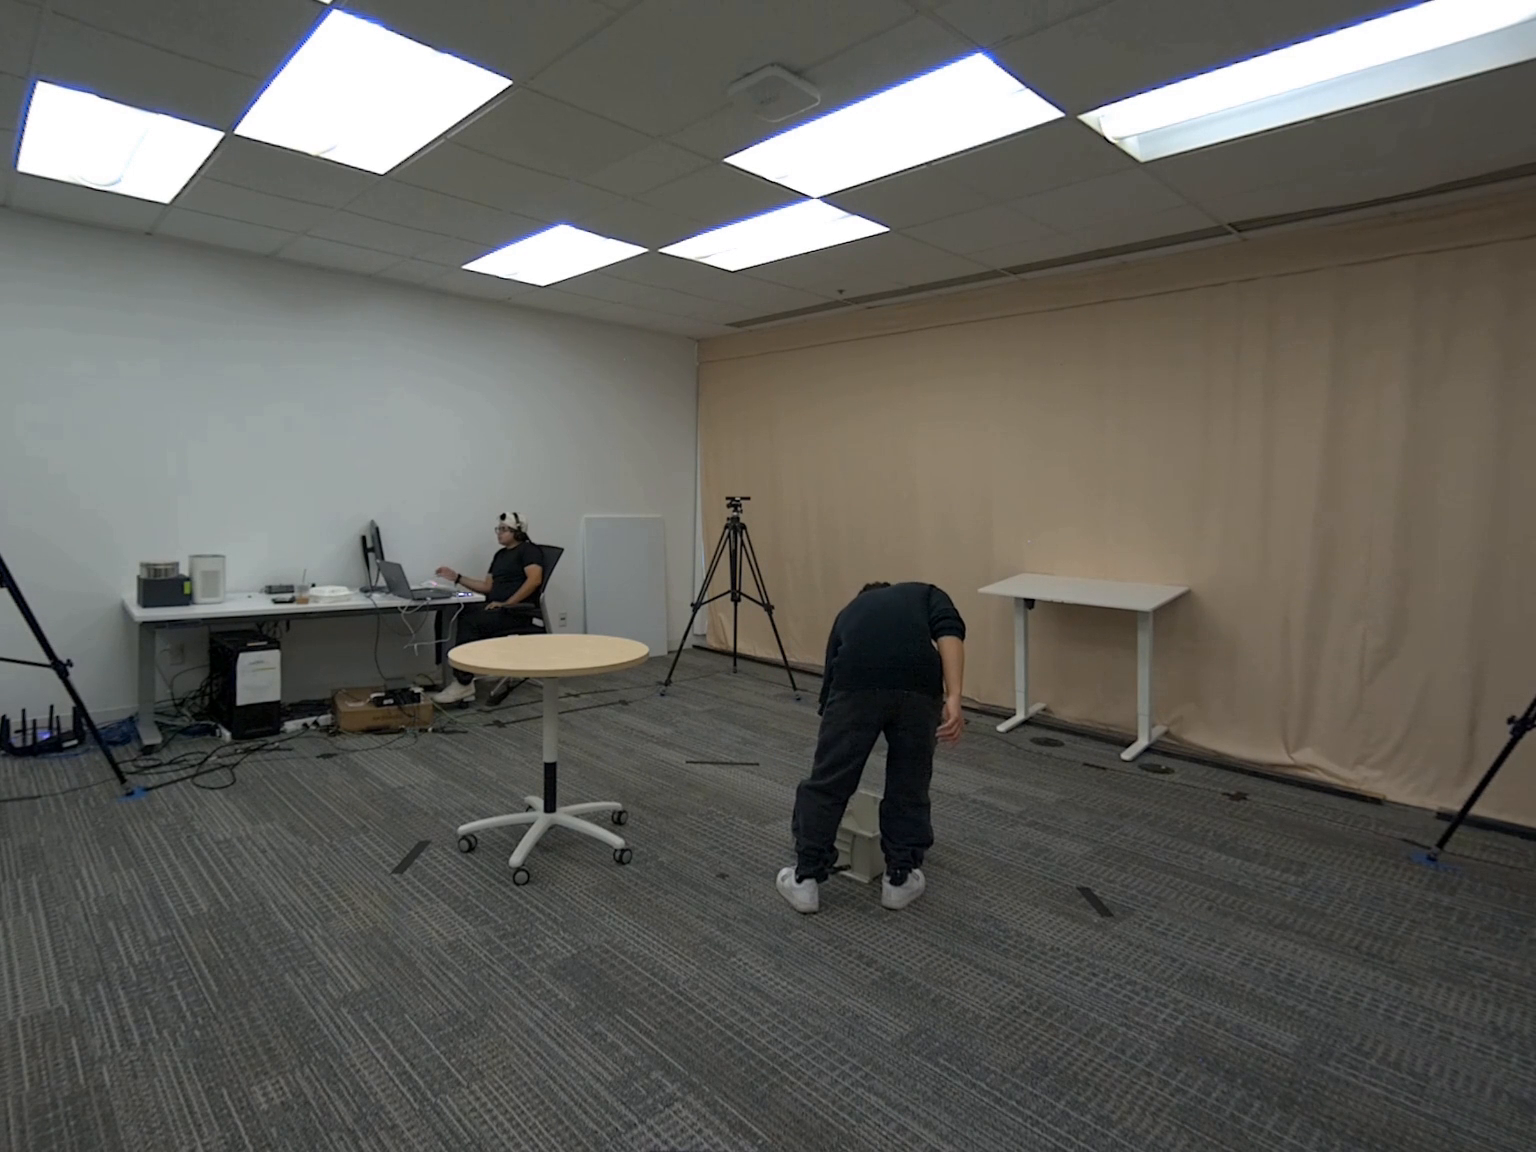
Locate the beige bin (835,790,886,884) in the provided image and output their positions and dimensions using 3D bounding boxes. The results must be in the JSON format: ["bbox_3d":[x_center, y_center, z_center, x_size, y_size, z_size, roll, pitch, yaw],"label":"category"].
[{"bbox_3d":[0.360,1.010,3.324,0.387,0.188,0.413,7,6,41],"label":"beige bin"}]
